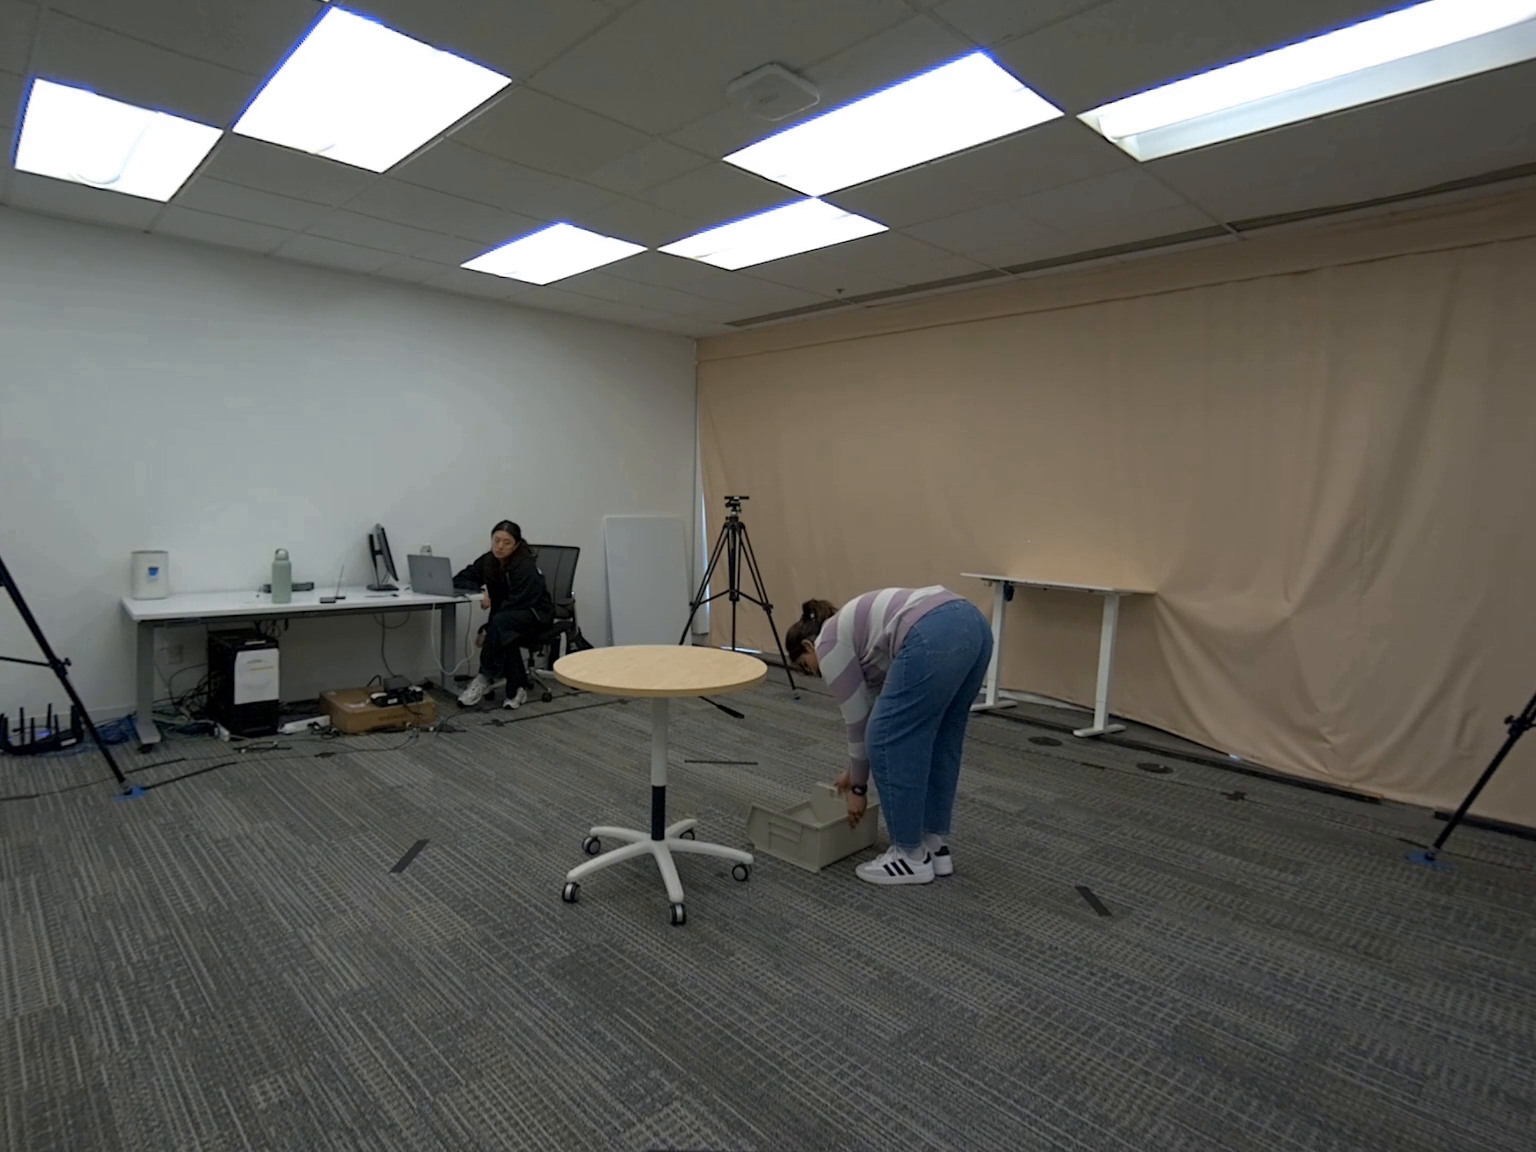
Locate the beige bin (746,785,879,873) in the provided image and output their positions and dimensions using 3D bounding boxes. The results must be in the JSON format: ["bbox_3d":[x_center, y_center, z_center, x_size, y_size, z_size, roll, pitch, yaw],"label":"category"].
[{"bbox_3d":[0.176,0.996,3.398,0.387,0.188,0.412,6,6,43],"label":"beige bin"}]
